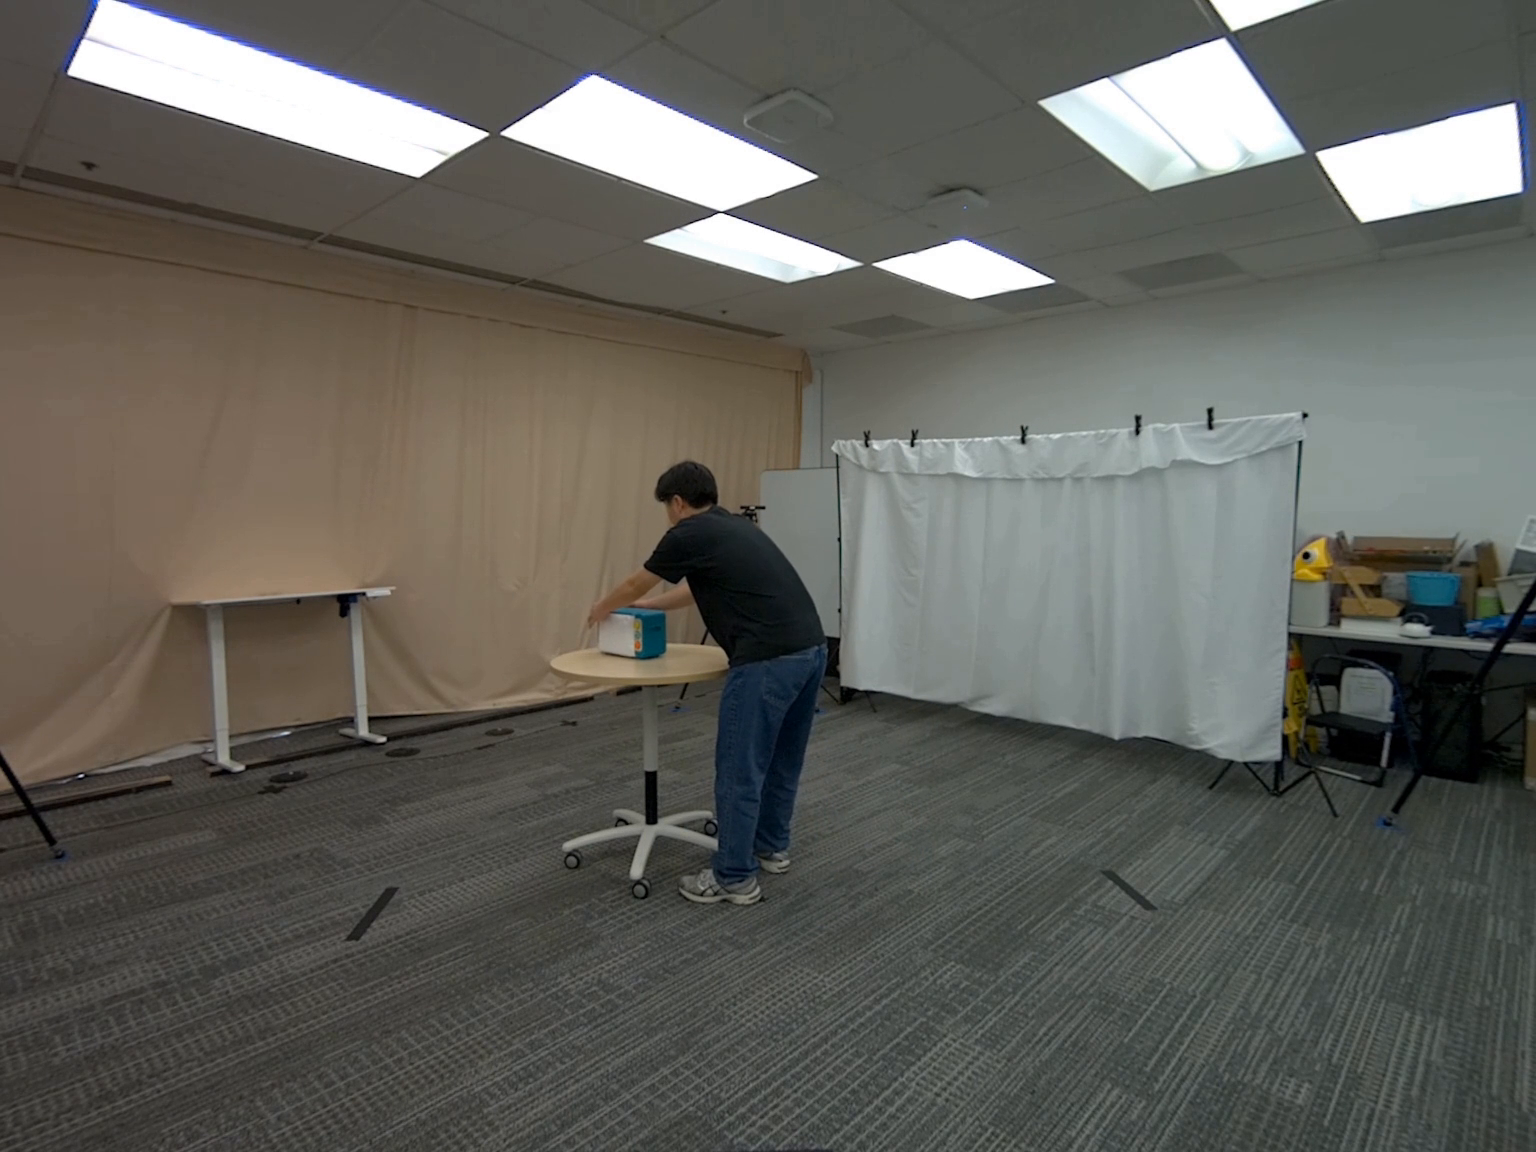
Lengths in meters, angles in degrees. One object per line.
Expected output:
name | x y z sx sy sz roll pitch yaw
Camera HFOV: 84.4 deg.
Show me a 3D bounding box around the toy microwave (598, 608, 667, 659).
toy microwave | -0.555 0.228 3.398 0.295 0.184 0.148 3 4 40
